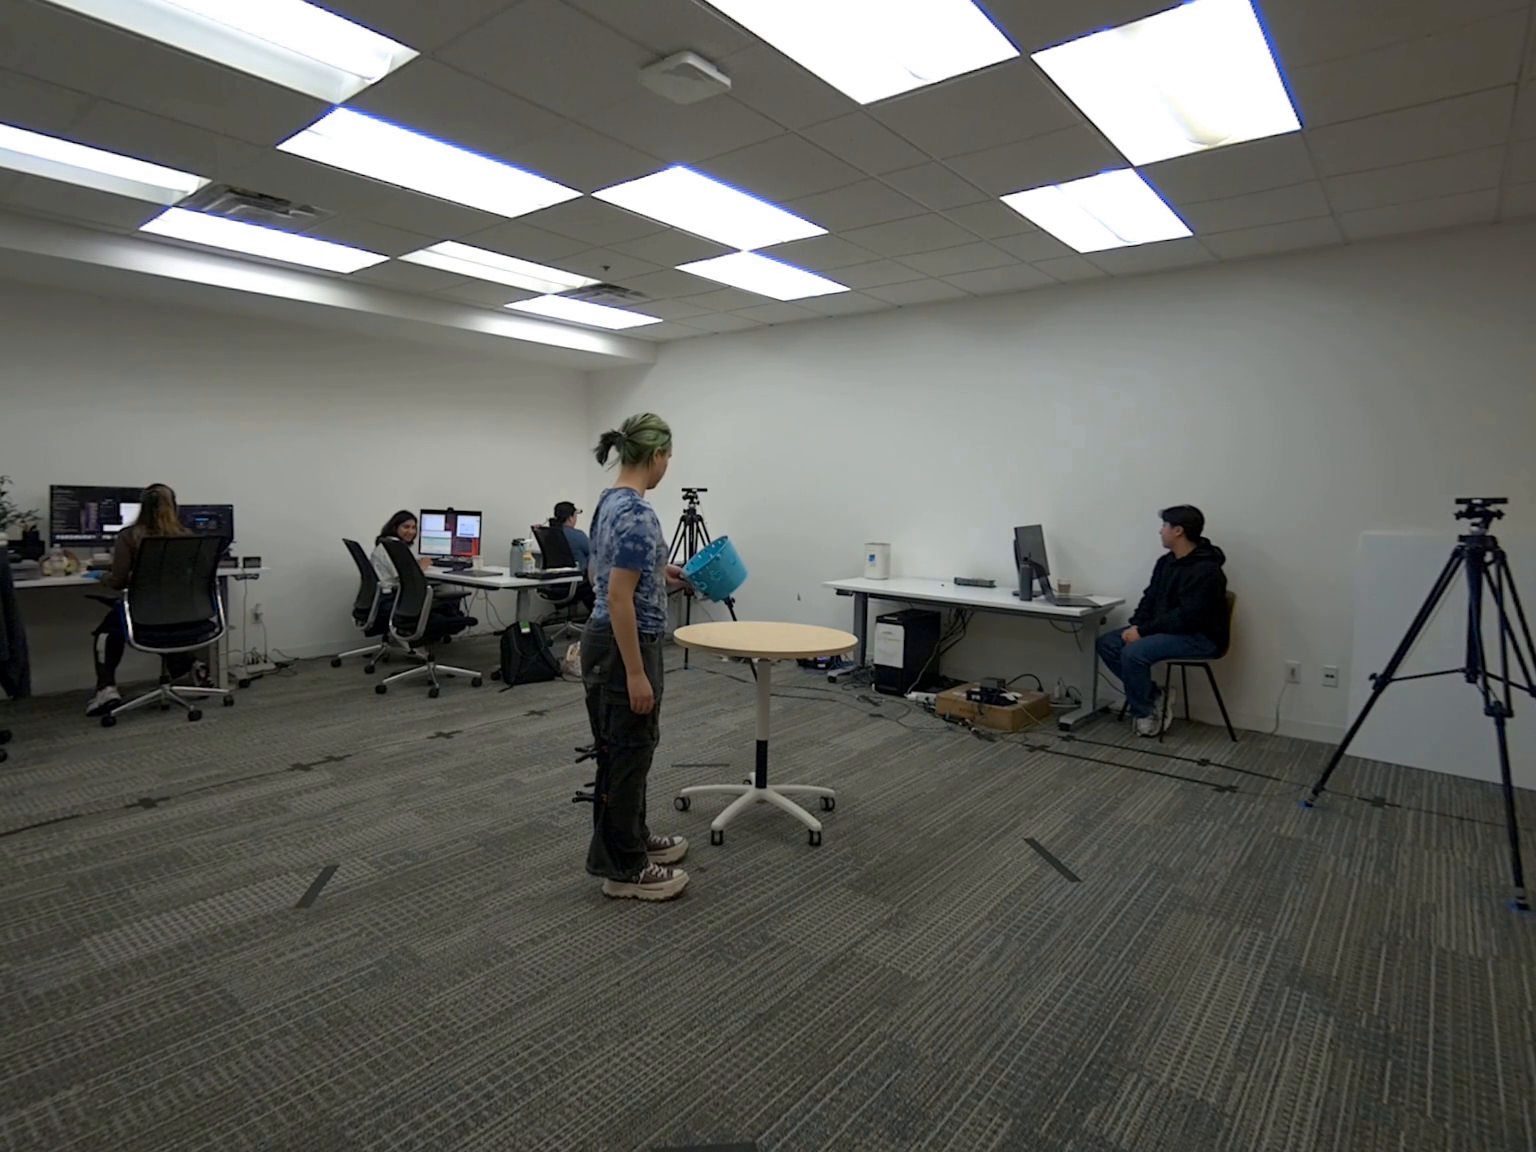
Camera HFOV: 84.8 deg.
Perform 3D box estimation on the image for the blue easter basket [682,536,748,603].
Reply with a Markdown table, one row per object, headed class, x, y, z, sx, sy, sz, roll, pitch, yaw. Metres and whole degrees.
| class | x | y | z | sx | sy | sz | roll | pitch | yaw |
| --- | --- | --- | --- | --- | --- | --- | --- | --- | --- |
| blue easter basket | -0.212 | -0.013 | 3.149 | 0.244 | 0.153 | 0.247 | -38 | 15 | 8 |
